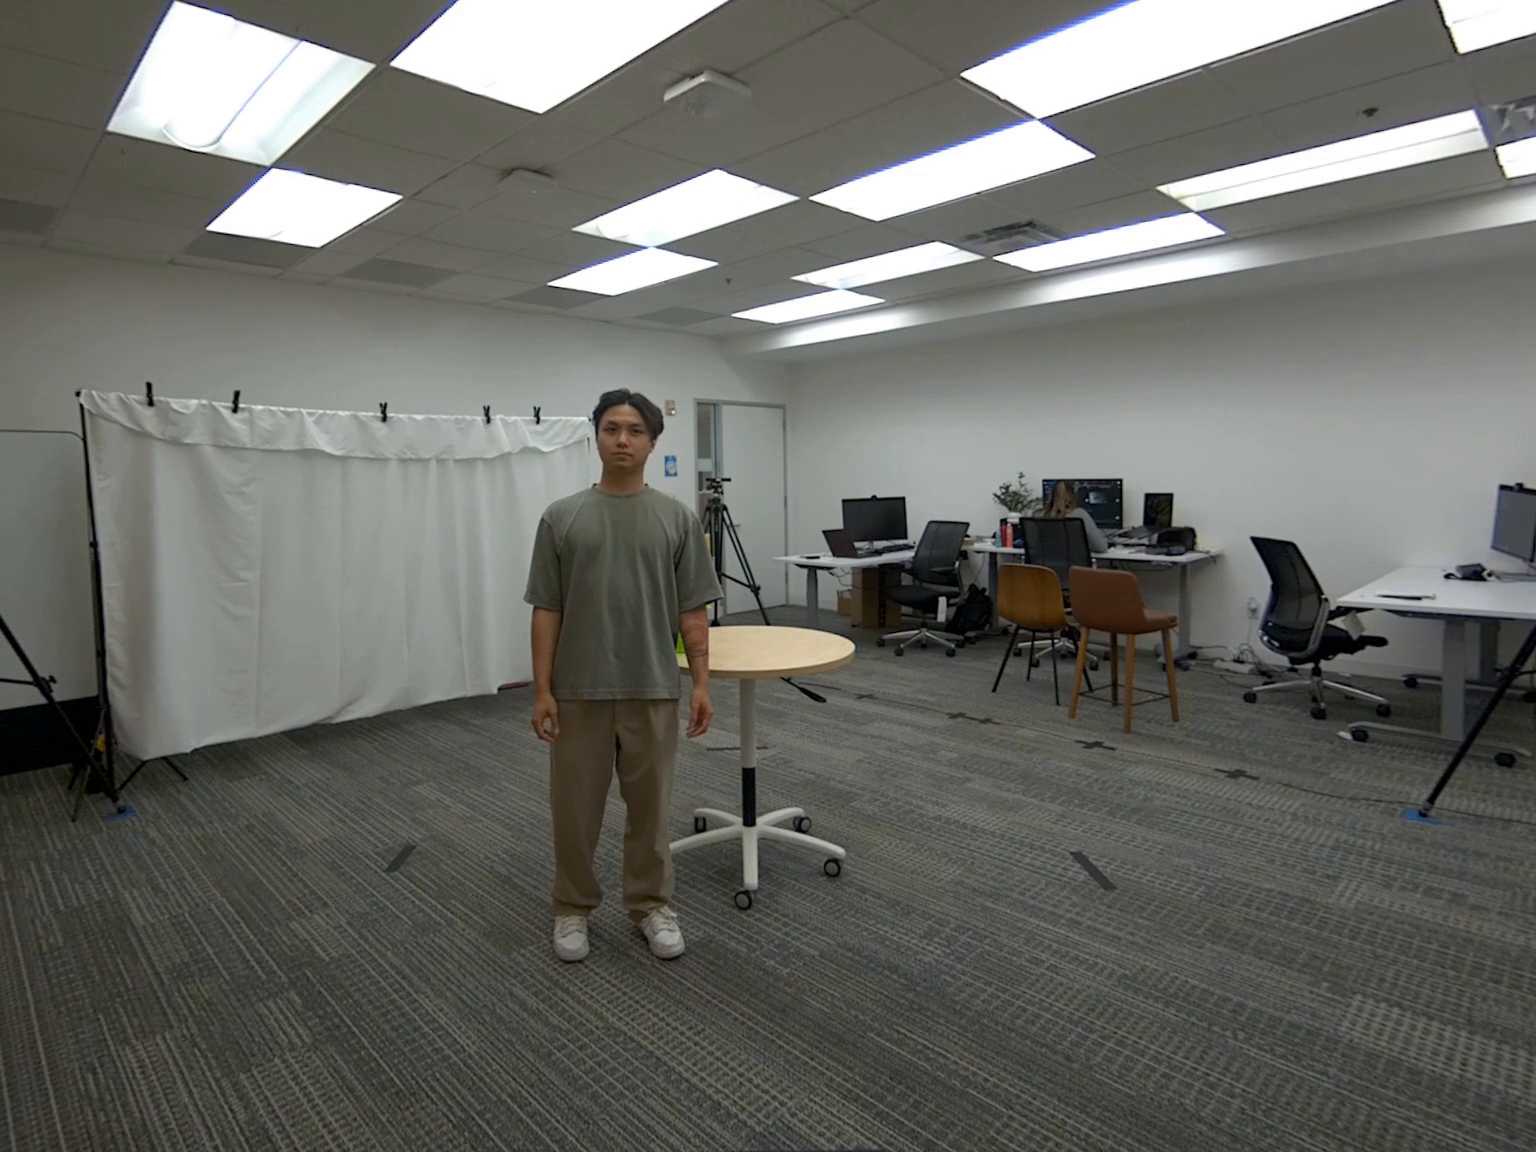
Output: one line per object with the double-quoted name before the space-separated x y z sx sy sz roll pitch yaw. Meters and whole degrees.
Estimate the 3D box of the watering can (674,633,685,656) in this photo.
"watering can" -0.279 0.174 2.956 0.096 0.176 0.285 -1 5 -26
